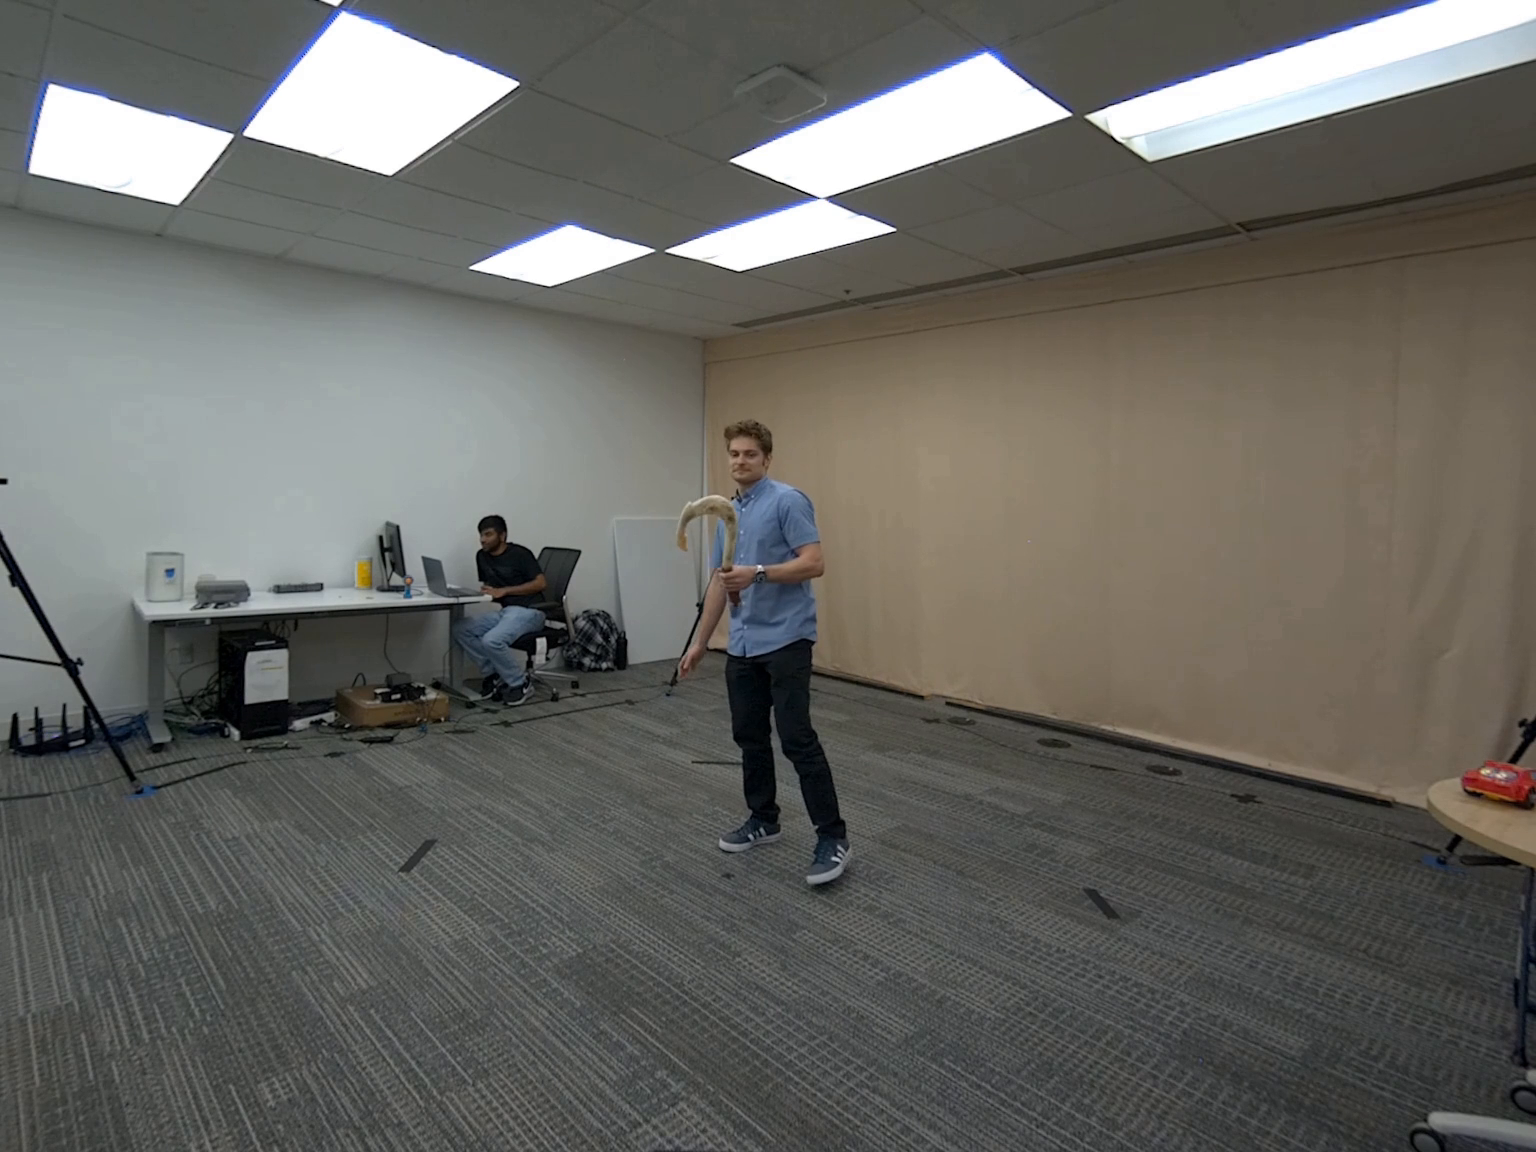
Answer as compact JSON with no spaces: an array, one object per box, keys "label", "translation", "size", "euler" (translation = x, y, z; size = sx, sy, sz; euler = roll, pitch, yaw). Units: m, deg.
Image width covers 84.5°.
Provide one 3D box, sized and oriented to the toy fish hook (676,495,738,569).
[{"label":"toy fish hook","translation":[-0.210,-0.065,2.970],"size":[0.224,0.494,0.050],"euler":[-17,36,-6]}]
